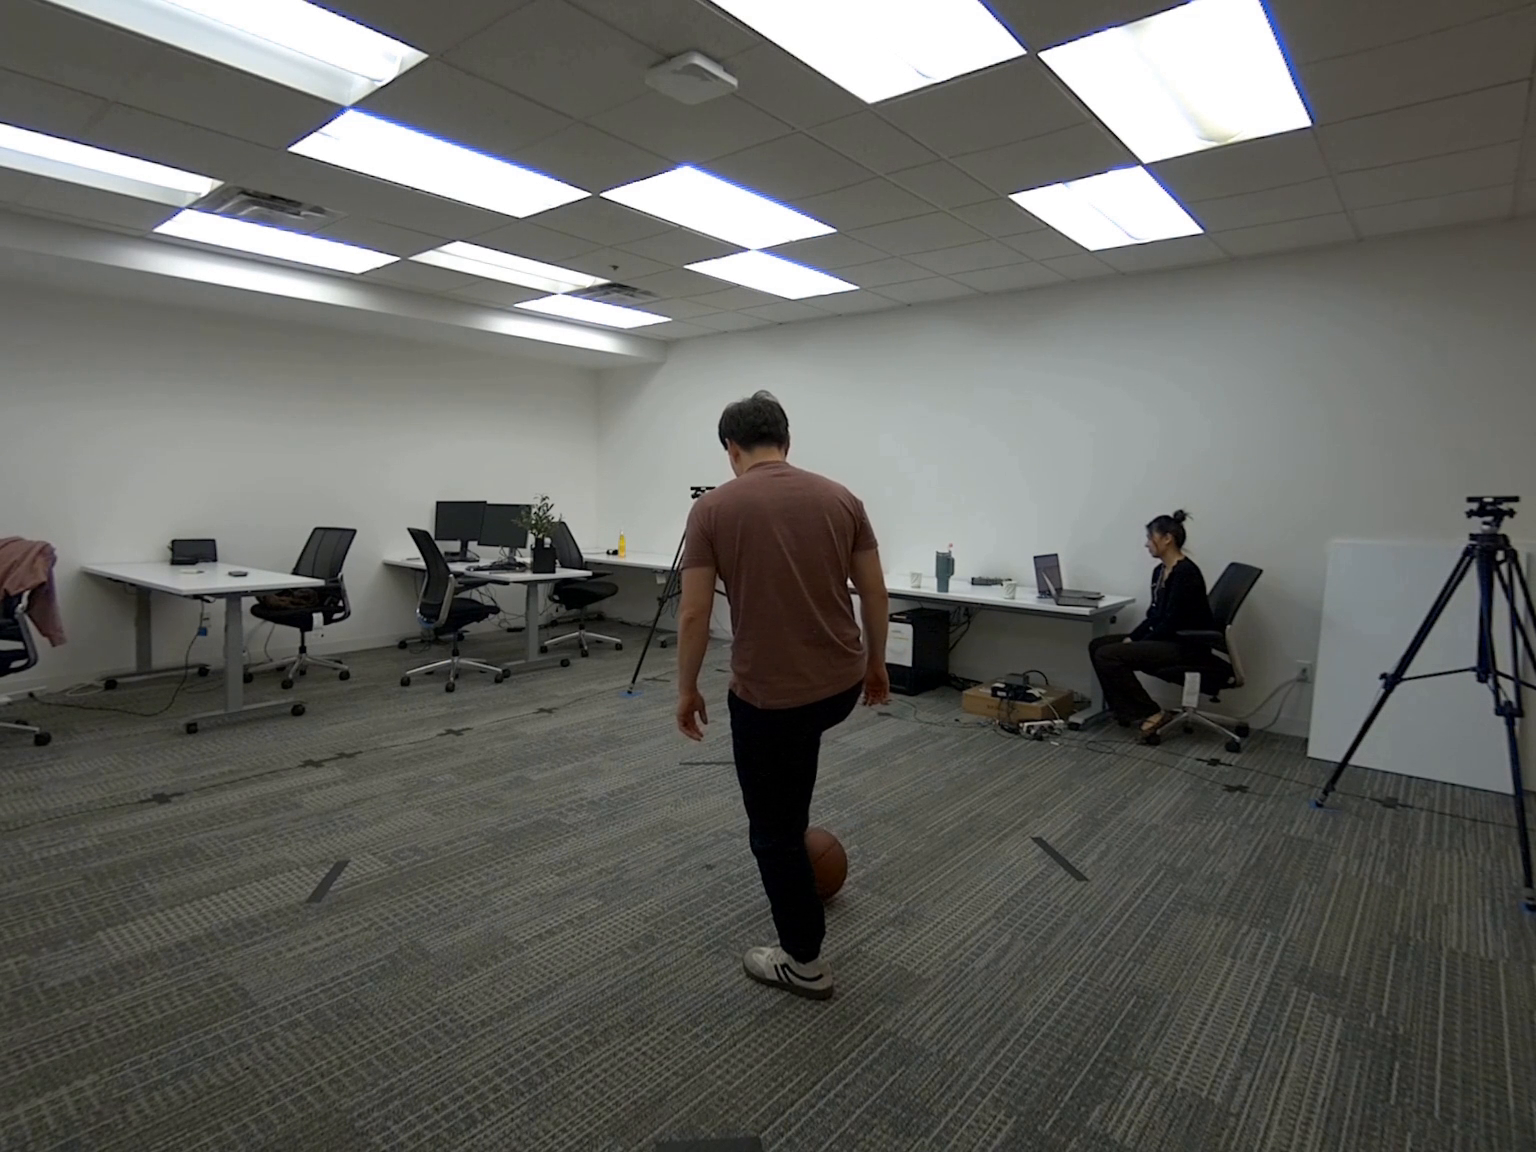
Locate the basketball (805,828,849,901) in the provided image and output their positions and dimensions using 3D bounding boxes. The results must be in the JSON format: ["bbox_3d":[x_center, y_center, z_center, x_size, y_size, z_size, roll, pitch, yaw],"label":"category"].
[{"bbox_3d":[0.153,0.978,2.895,0.235,0.235,0.237,1,4,-2],"label":"basketball"}]
